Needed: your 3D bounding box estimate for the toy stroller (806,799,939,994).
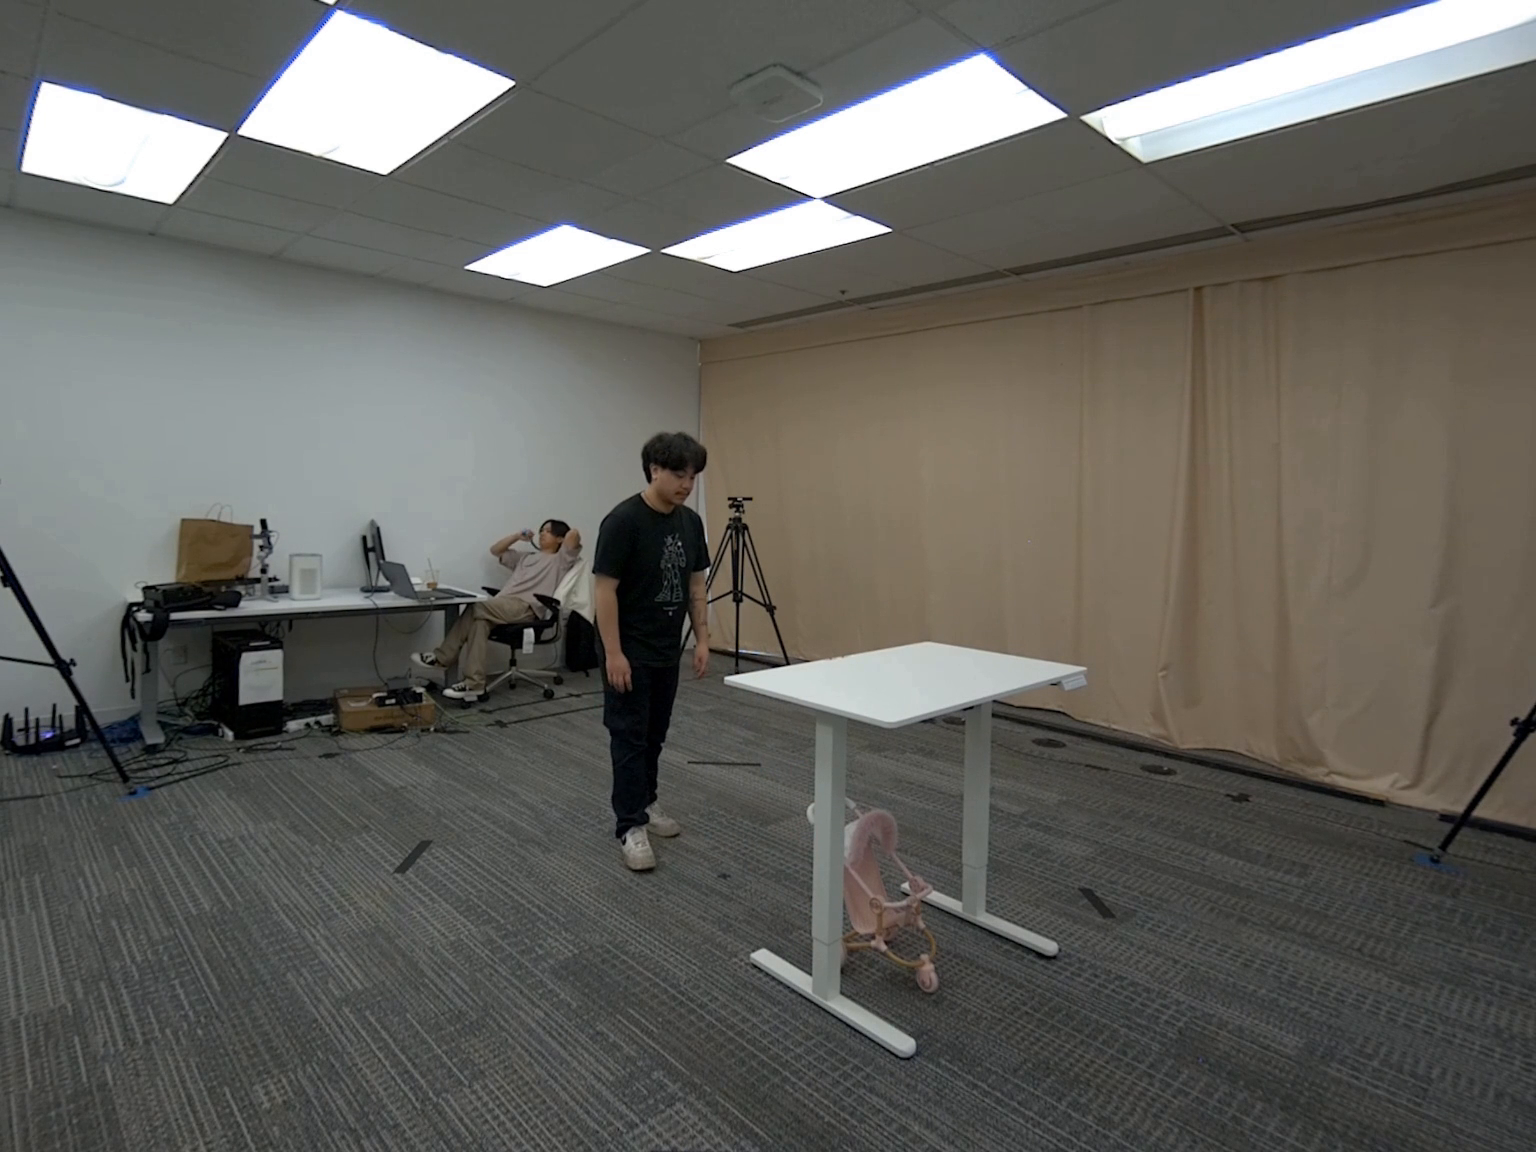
[{"bbox_3d":[0.324,0.947,2.529,0.275,0.539,0.346,-2,-11,-40],"label":"toy stroller"}]
